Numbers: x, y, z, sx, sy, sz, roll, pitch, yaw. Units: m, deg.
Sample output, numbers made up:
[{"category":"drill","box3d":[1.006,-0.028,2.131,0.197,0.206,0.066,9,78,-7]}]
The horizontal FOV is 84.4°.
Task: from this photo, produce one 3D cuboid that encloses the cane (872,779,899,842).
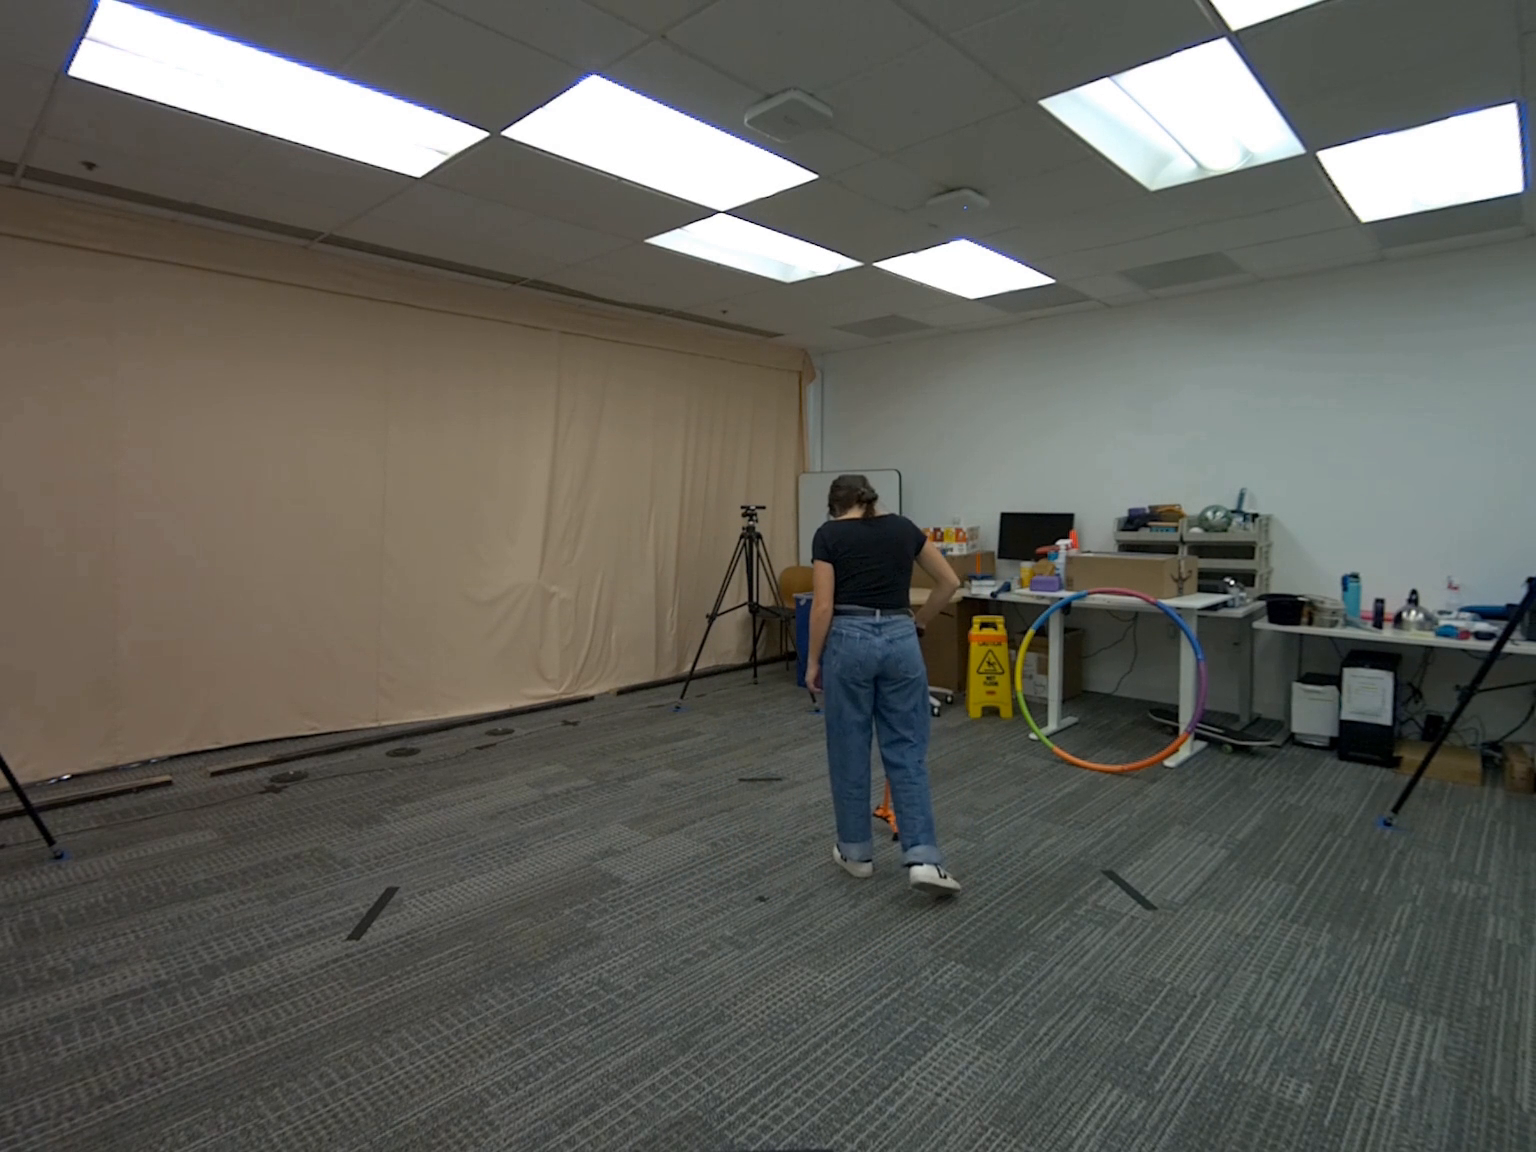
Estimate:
[{"category":"cane","box3d":[0.541,0.638,3.526,0.214,0.902,0.147,12,14,42]}]
